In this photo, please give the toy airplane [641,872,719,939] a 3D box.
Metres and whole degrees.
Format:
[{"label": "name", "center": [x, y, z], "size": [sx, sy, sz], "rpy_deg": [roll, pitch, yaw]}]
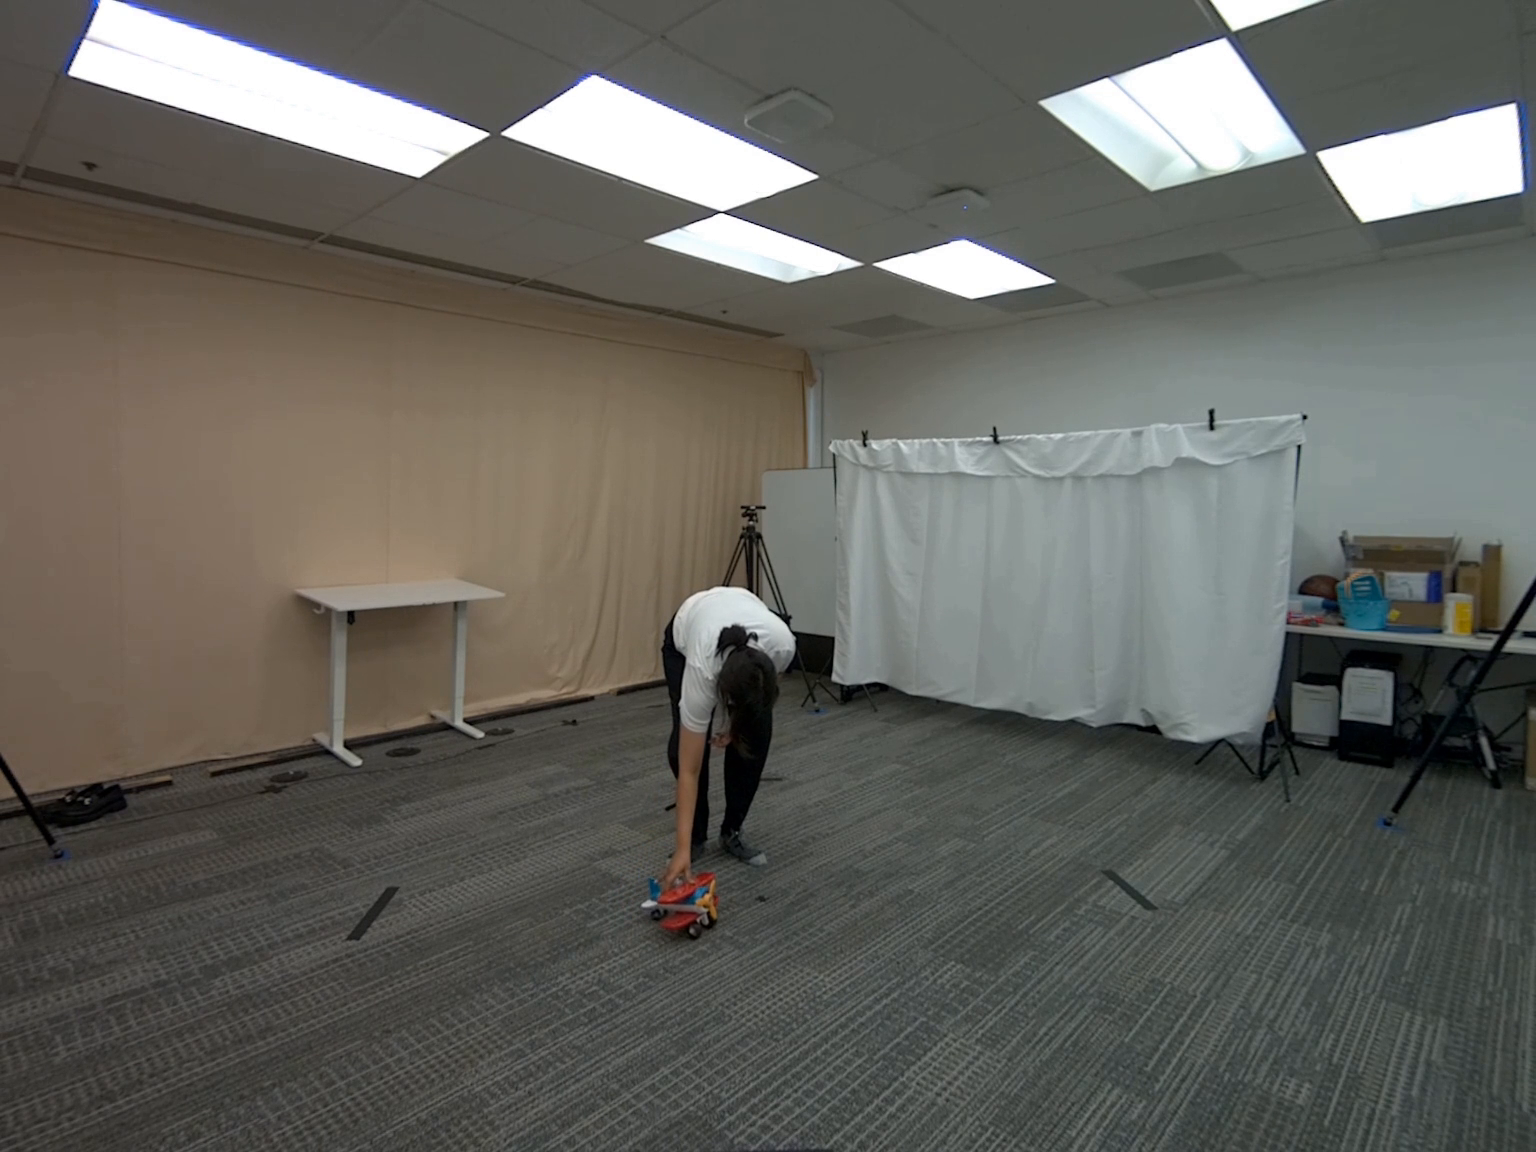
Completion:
[{"label": "toy airplane", "center": [-0.301, 1.086, 2.768], "size": [0.261, 0.156, 0.250], "rpy_deg": [3, 4, 6]}]
